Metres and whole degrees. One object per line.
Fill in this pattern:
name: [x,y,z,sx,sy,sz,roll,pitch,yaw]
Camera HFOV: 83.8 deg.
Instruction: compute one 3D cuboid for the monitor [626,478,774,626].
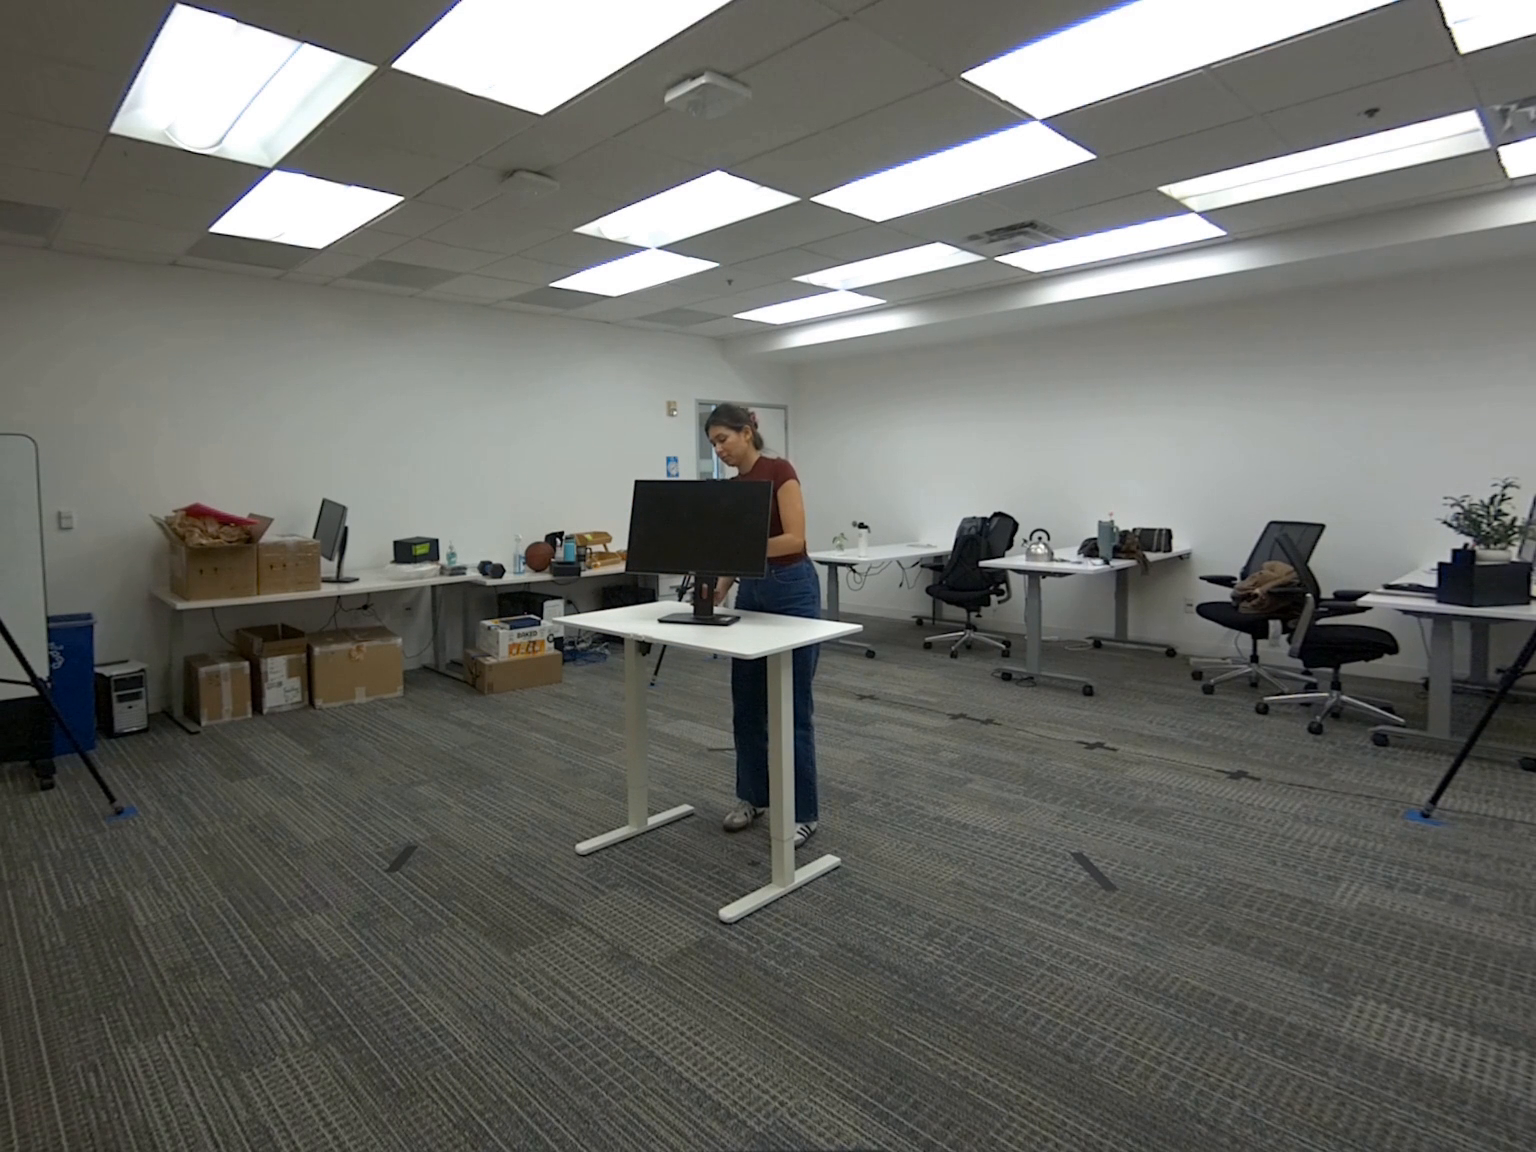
monitor: [-0.243,-0.089,3.112,0.548,0.521,0.184,2,3,16]
